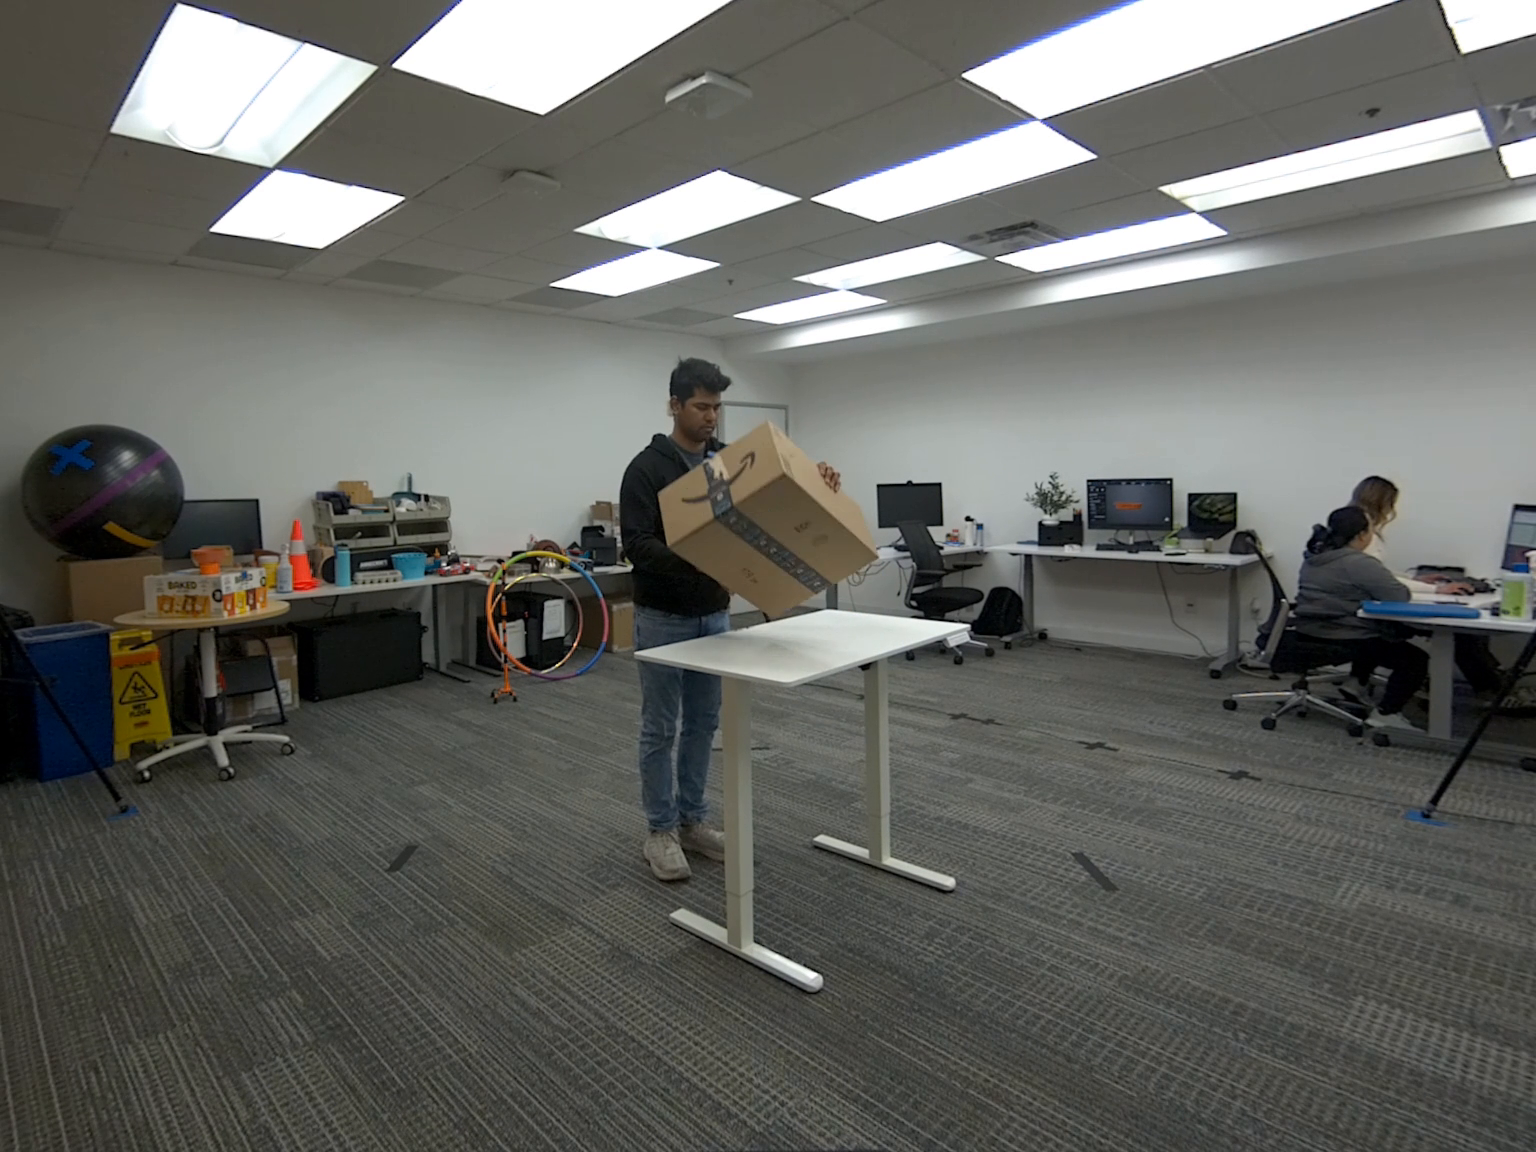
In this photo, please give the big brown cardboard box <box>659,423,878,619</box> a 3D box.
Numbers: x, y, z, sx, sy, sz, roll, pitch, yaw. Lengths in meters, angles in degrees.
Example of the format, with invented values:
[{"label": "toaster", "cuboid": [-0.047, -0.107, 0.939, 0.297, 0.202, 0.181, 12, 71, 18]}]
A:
[{"label": "big brown cardboard box", "cuboid": [0.007, -0.145, 2.629, 0.420, 0.241, 0.566, -30, -39, 21]}]
